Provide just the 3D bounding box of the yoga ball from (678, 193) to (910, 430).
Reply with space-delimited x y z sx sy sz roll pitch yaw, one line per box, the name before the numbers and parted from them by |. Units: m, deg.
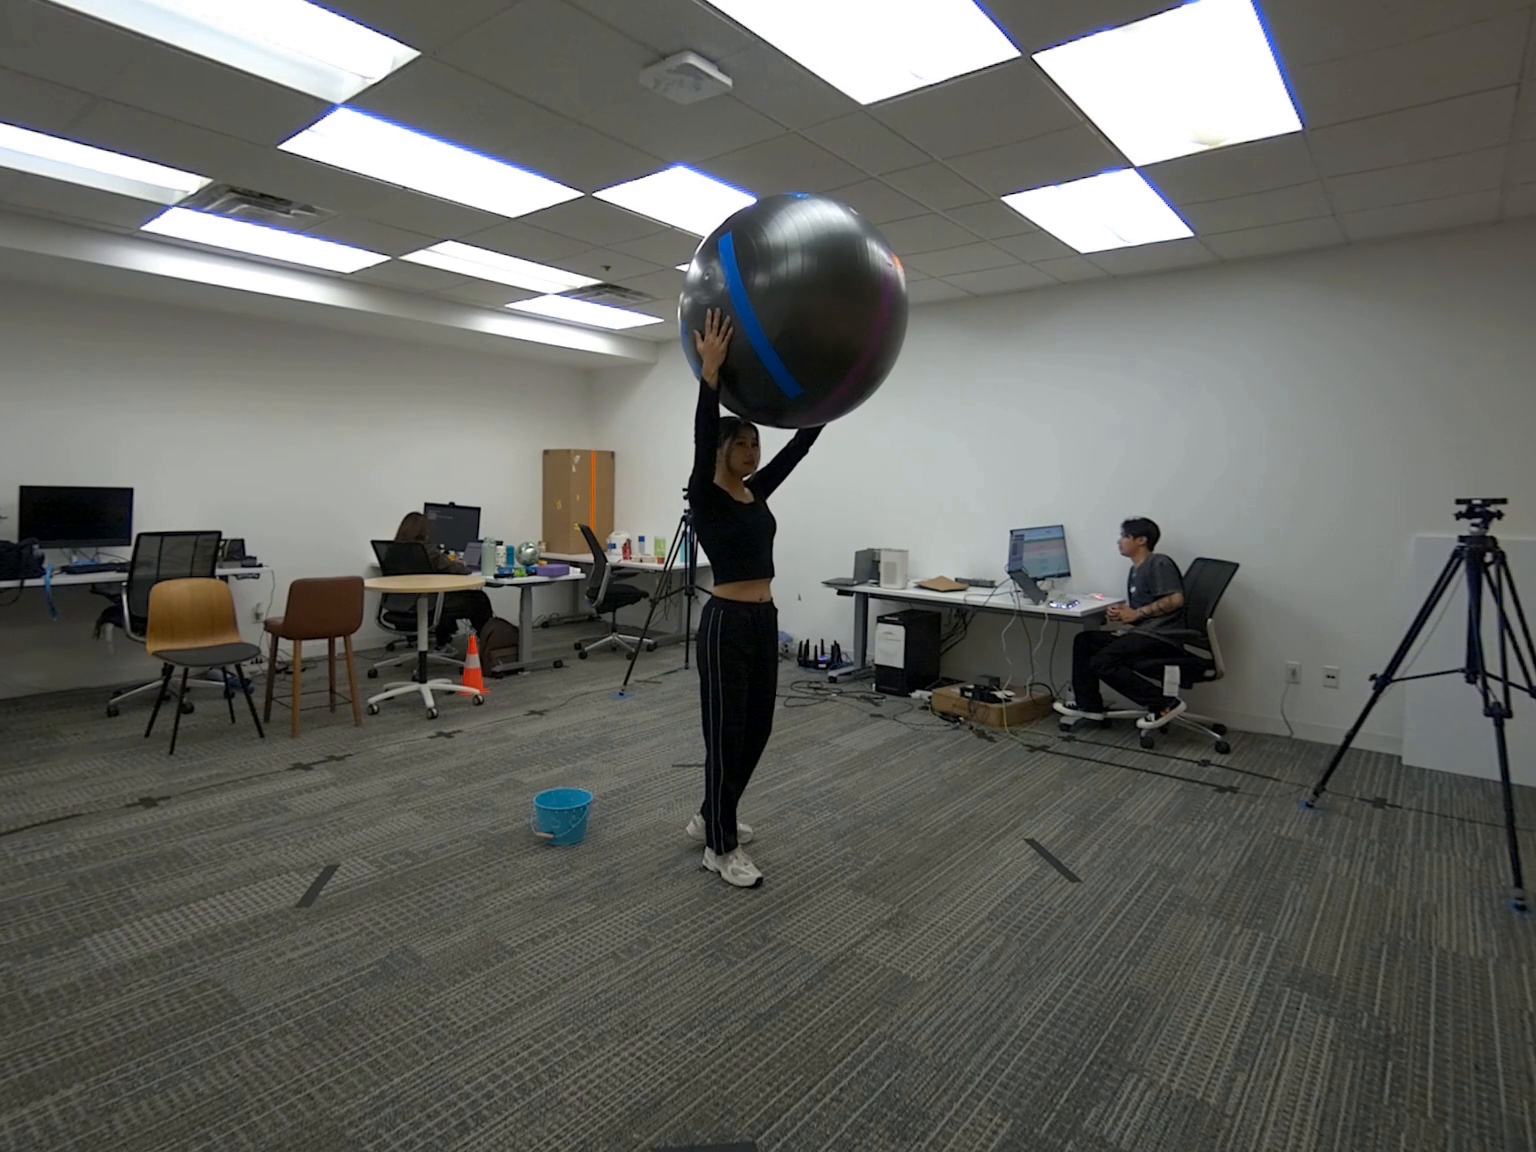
yoga ball | 0.075 -0.870 2.834 0.757 0.755 0.762 1 4 -2
